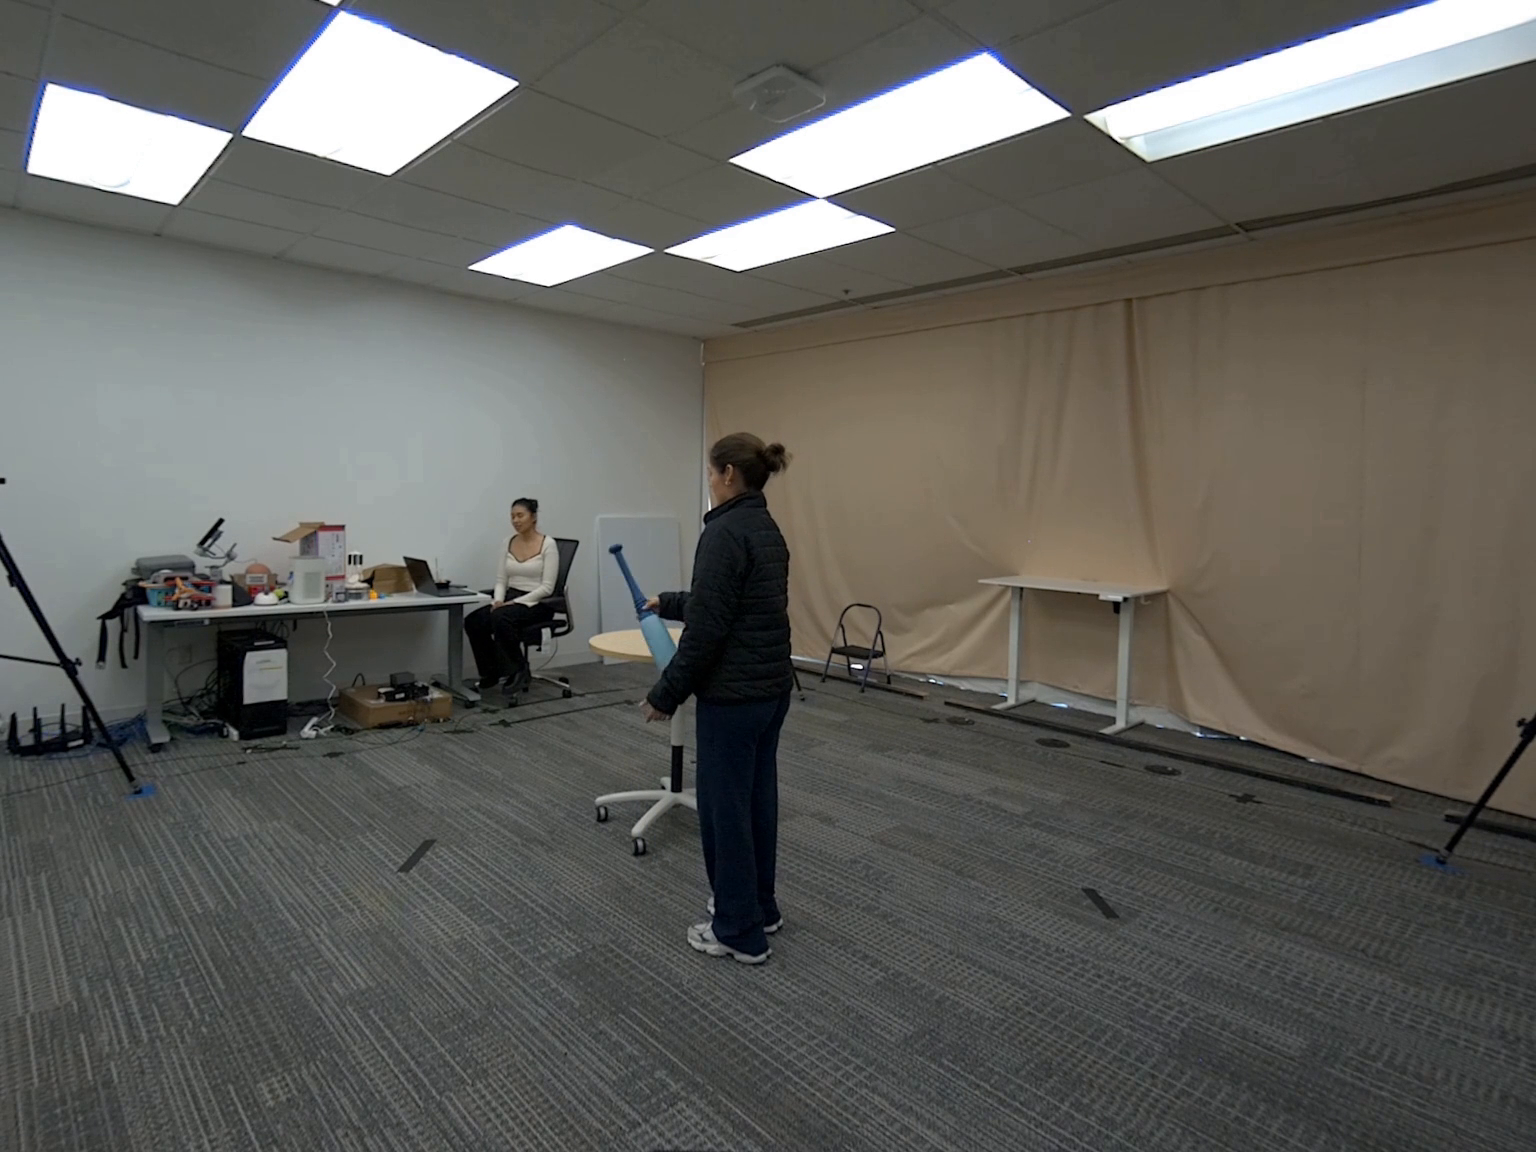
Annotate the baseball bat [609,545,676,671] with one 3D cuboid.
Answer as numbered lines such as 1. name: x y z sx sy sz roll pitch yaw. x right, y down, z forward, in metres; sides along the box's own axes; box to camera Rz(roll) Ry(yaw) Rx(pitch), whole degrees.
1. baseball bat: -0.427 0.098 2.905 0.089 0.551 0.088 -25 -14 -7
